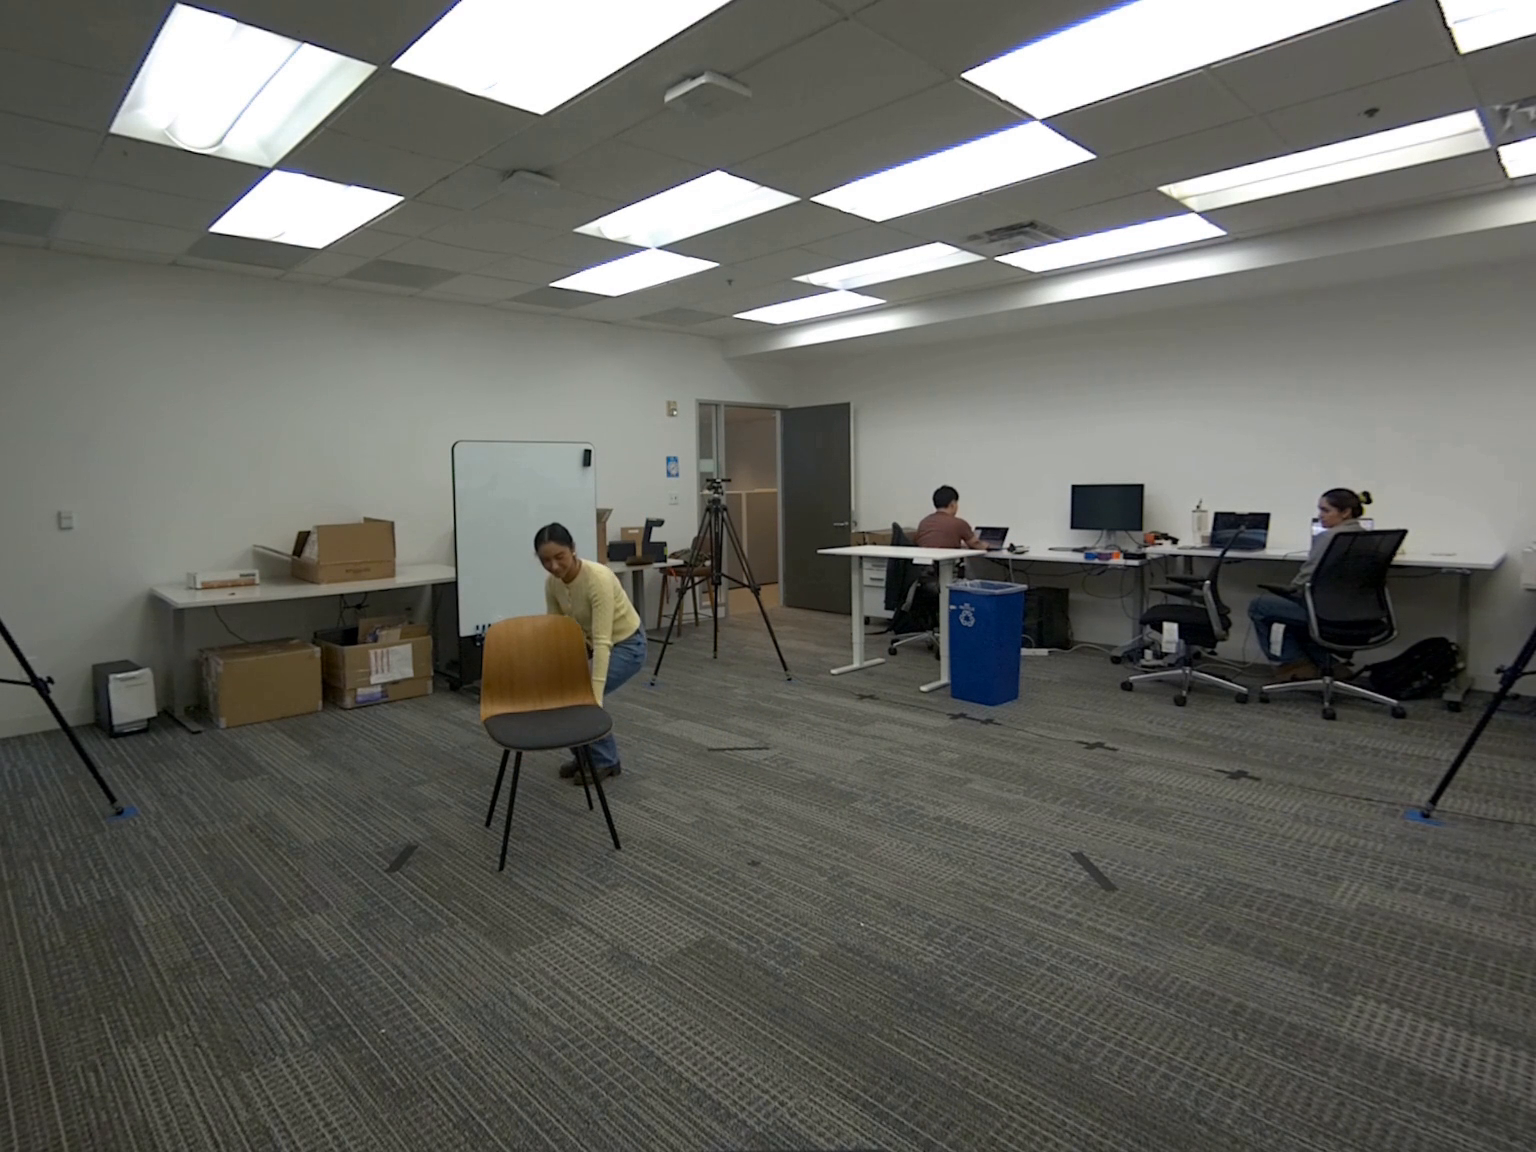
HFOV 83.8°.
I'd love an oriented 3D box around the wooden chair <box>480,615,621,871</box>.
[{"bbox_3d":[-0.861,0.612,3.329,0.469,0.878,0.533,-2,0,-23],"label":"wooden chair"}]
